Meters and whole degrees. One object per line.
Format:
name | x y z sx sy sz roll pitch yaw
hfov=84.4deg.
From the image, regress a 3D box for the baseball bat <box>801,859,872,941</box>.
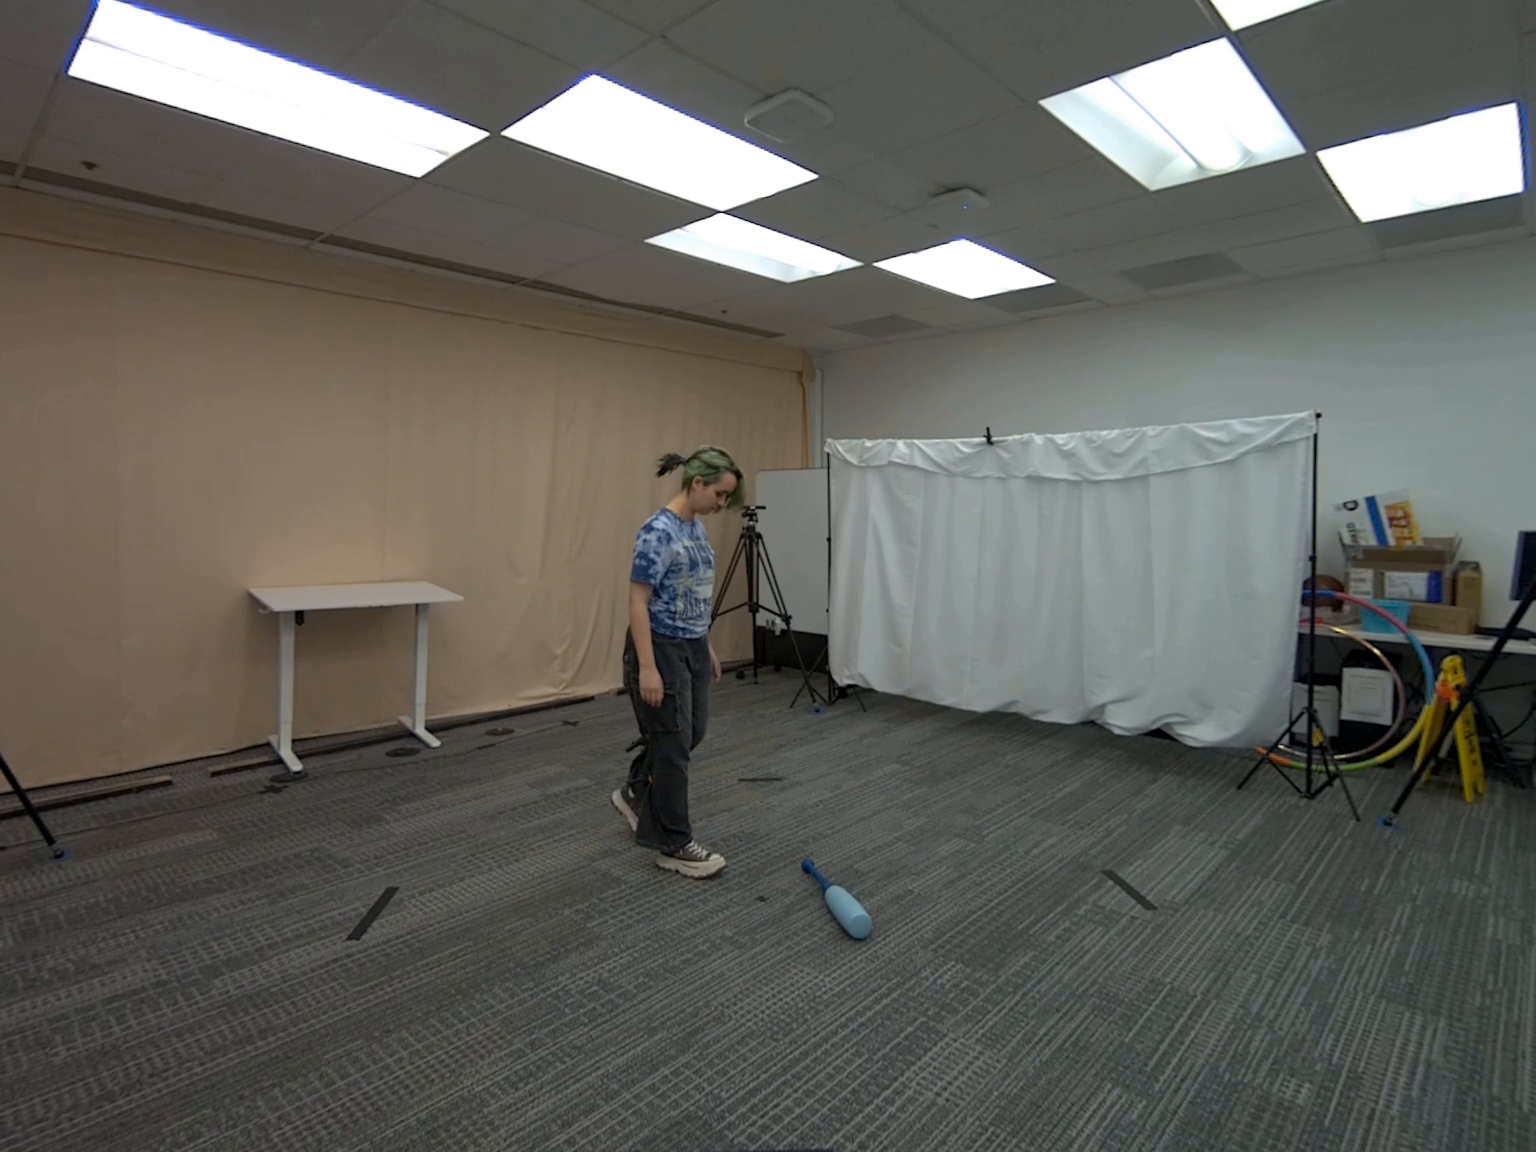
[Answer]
baseball bat | 0.231 1.112 2.943 0.088 0.089 0.551 -1 2 -14
